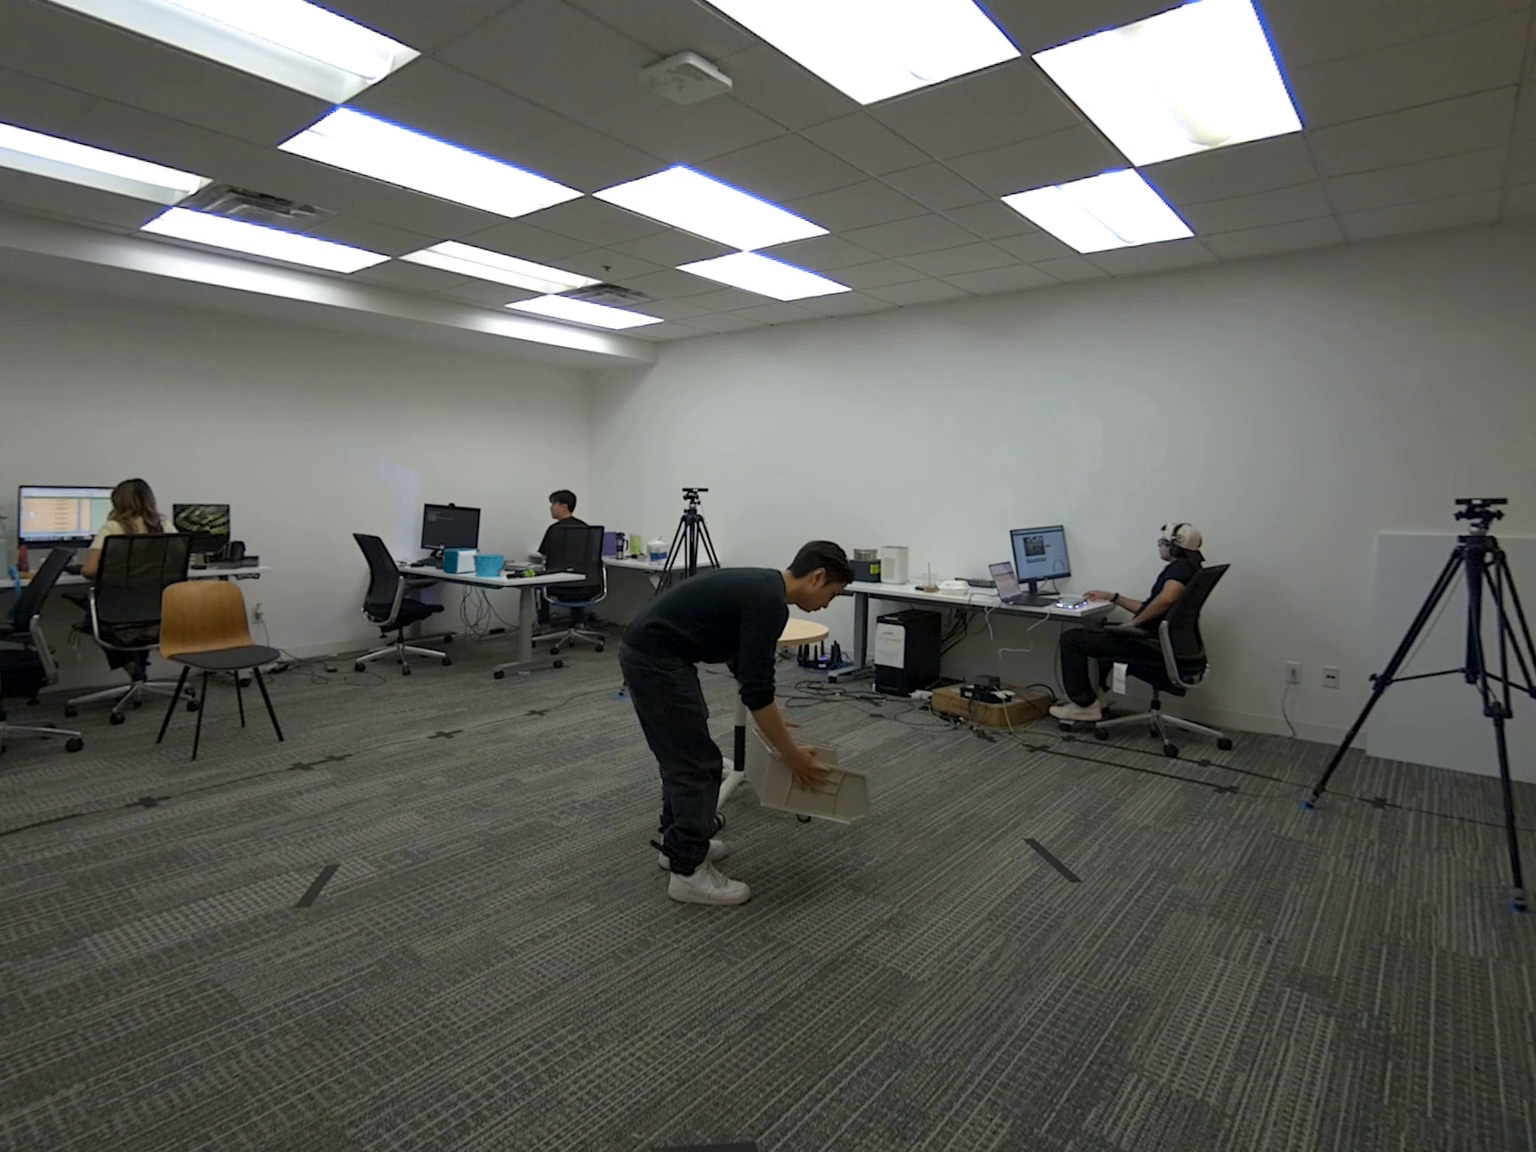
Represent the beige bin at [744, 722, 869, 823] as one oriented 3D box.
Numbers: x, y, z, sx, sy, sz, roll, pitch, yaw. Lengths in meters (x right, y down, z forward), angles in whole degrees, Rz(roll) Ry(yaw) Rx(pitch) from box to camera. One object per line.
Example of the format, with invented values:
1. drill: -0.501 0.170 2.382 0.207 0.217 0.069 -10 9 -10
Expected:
1. beige bin: 0.122 0.723 3.040 0.374 0.189 0.426 13 1 -8
